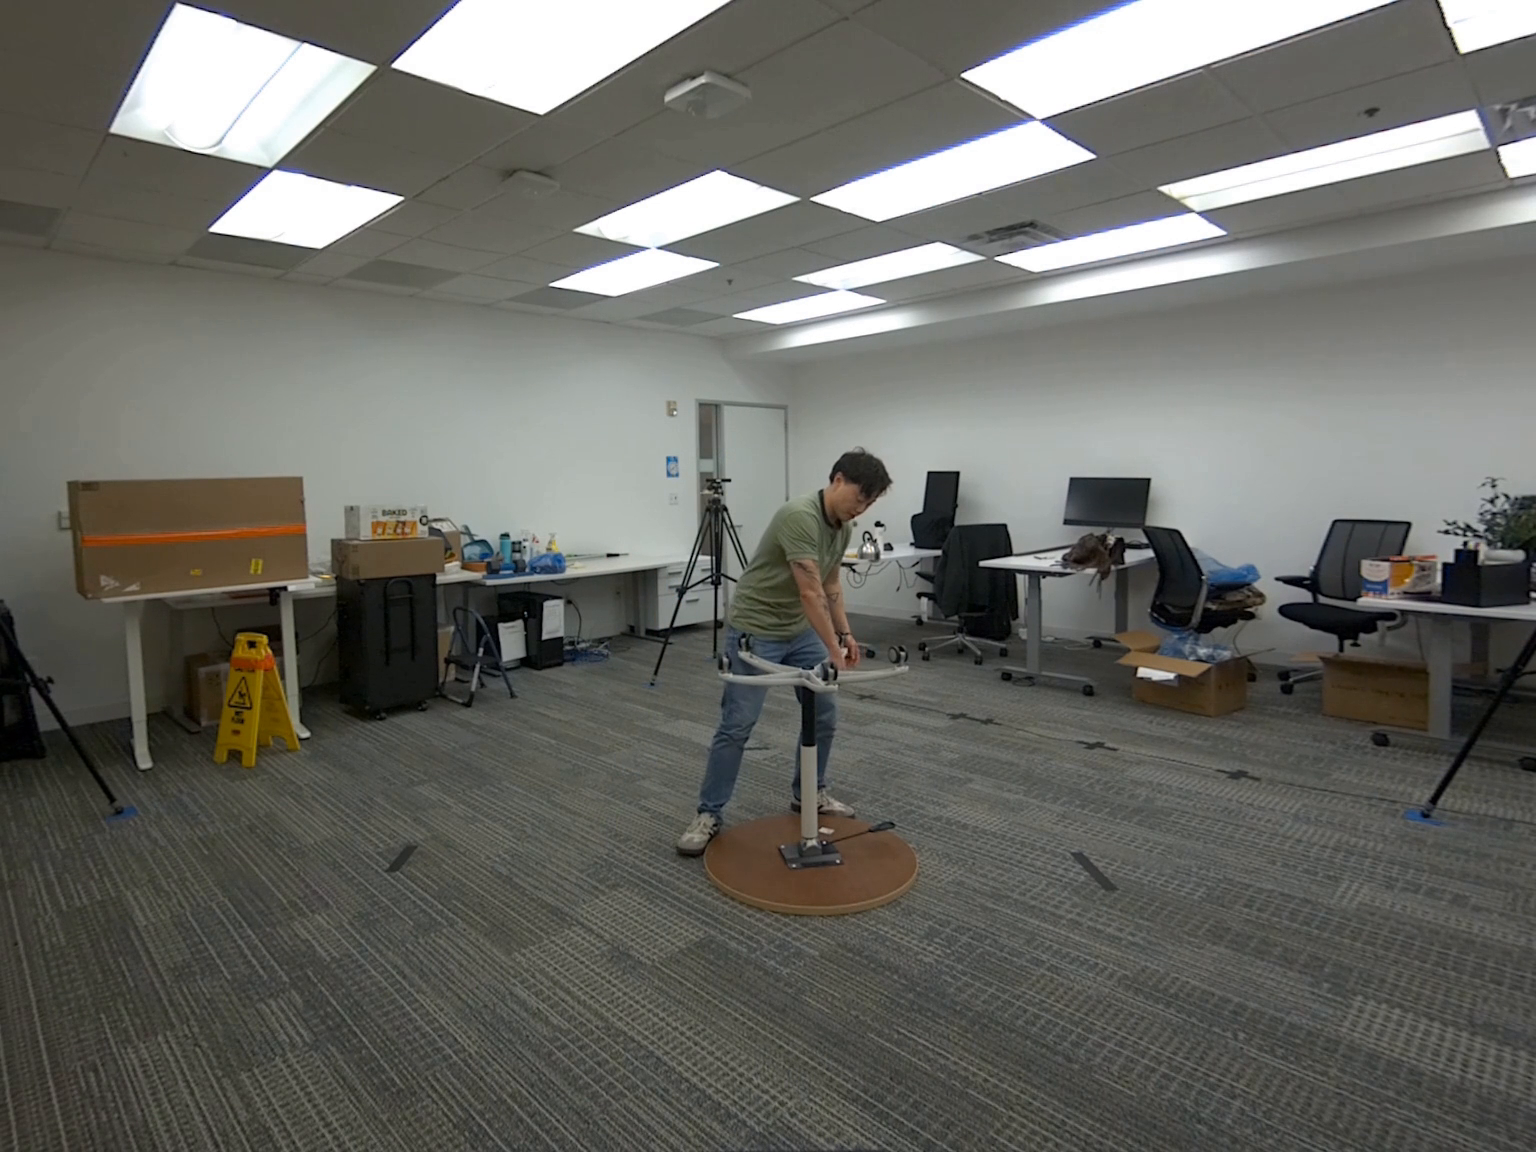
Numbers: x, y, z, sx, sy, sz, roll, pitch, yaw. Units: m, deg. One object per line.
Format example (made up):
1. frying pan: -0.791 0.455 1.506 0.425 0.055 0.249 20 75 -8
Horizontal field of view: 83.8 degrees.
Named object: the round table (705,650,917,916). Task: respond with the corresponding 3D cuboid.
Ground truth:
1. round table: 0.149 0.650 3.075 0.763 0.791 0.768 -2 5 -2
